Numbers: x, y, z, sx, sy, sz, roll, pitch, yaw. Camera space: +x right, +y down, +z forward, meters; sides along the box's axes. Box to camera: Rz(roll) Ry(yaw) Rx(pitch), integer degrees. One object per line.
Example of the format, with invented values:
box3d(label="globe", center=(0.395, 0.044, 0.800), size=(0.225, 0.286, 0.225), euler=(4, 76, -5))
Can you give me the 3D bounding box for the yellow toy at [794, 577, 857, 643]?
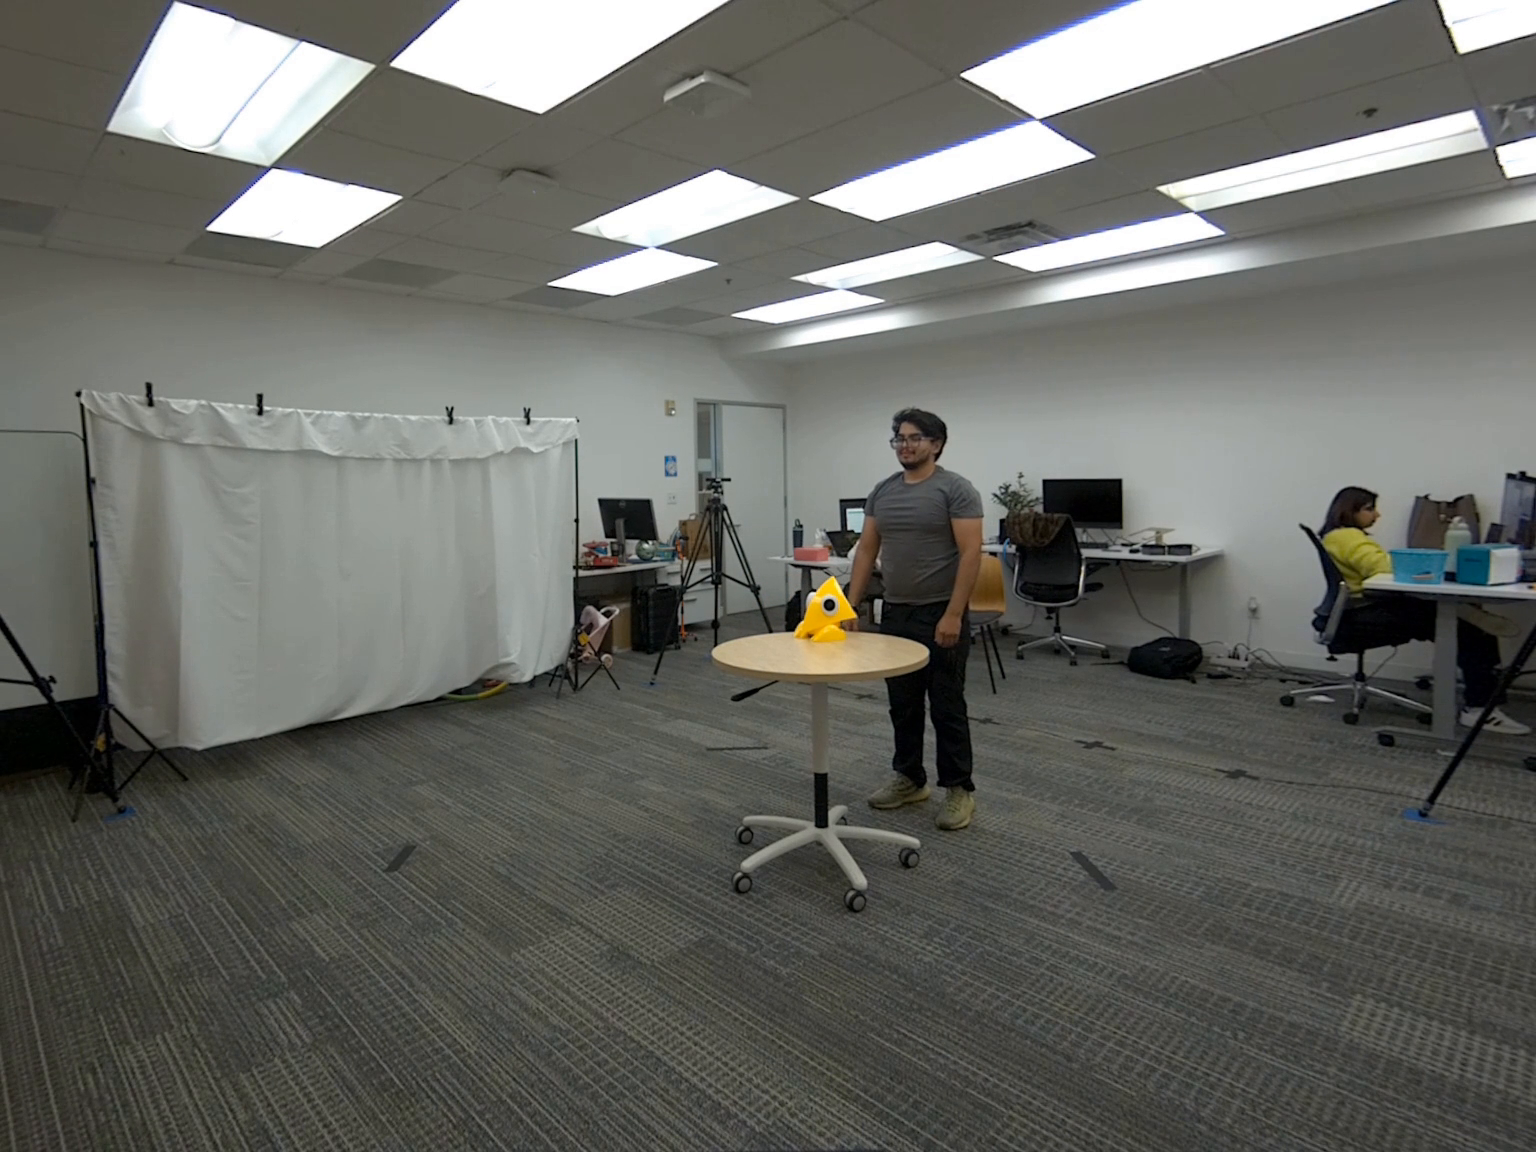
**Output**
box3d(label="yellow toy", center=(0.213, 0.121, 3.298), size=(0.188, 0.230, 0.211), euler=(-5, 5, -33))
